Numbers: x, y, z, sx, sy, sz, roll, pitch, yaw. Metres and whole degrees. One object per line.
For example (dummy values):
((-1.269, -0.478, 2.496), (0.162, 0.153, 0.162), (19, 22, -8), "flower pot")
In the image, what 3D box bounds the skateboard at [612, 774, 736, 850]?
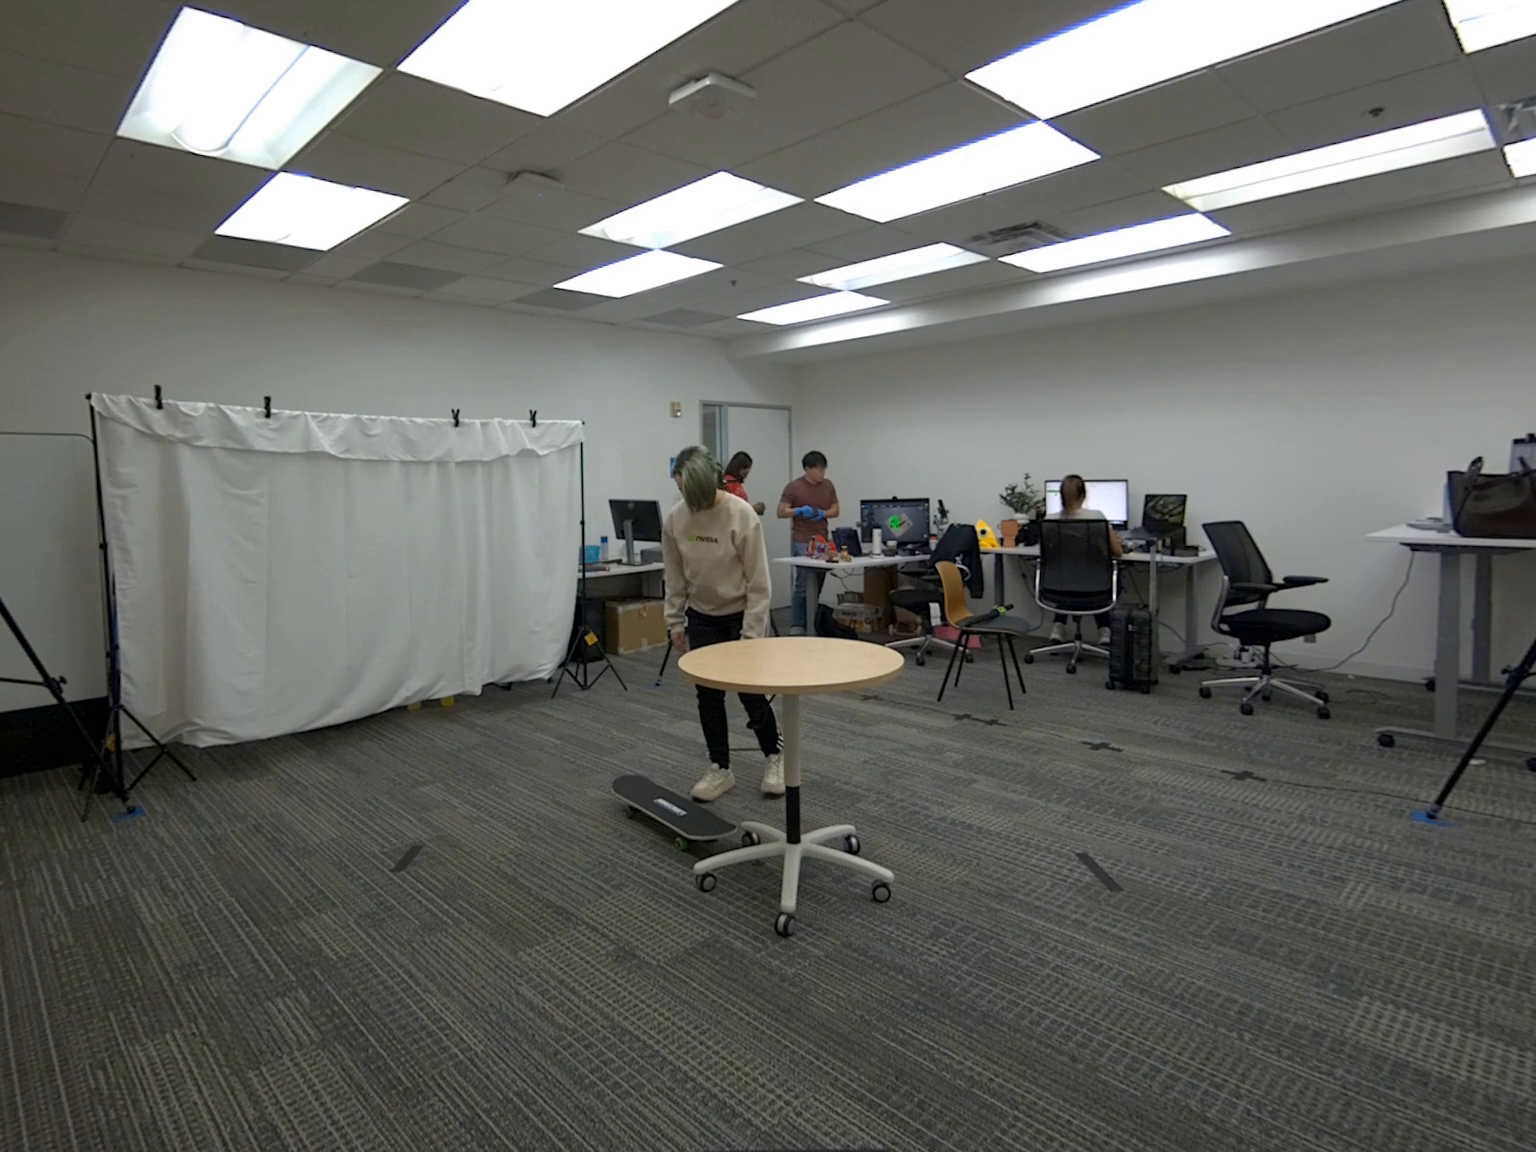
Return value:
((-0.383, 0.960, 3.438), (0.188, 0.110, 0.809), (-5, 7, -37), "skateboard")
